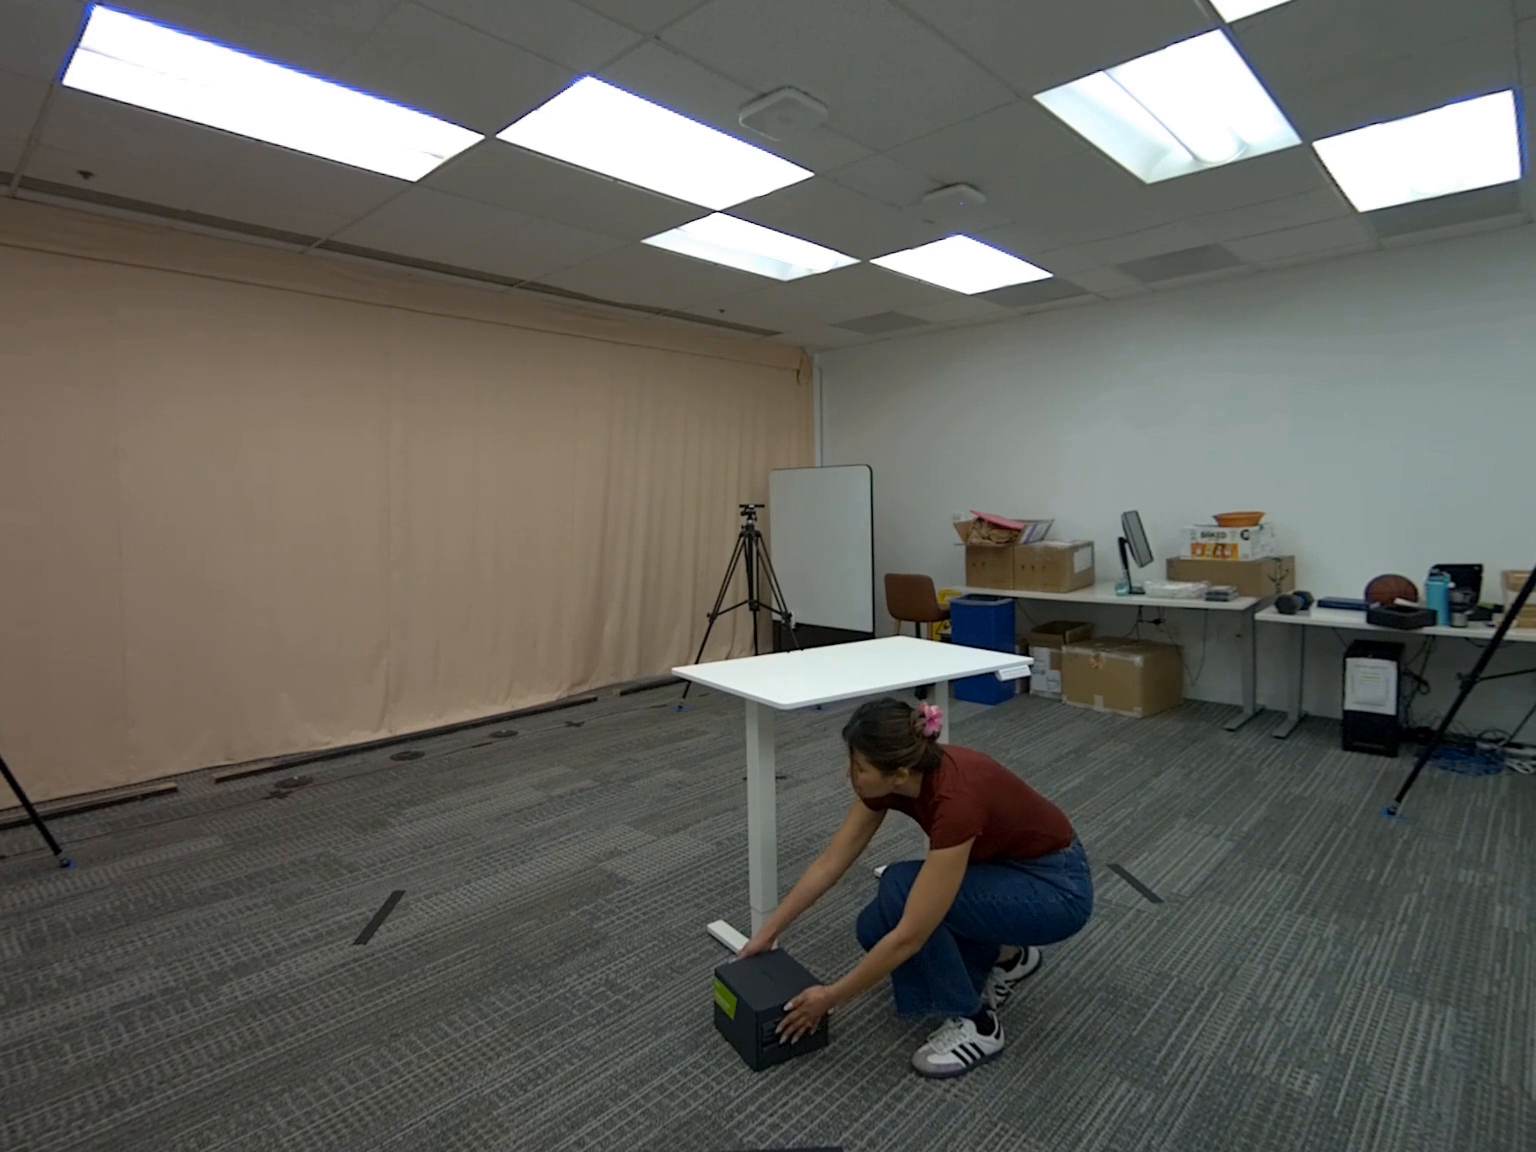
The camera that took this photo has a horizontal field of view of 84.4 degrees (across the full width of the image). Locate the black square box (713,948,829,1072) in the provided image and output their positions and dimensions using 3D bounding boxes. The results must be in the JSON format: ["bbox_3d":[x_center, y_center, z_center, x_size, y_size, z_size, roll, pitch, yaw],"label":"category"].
[{"bbox_3d":[0.004,1.127,2.205,0.211,0.155,0.234,-3,5,-29],"label":"black square box"}]
